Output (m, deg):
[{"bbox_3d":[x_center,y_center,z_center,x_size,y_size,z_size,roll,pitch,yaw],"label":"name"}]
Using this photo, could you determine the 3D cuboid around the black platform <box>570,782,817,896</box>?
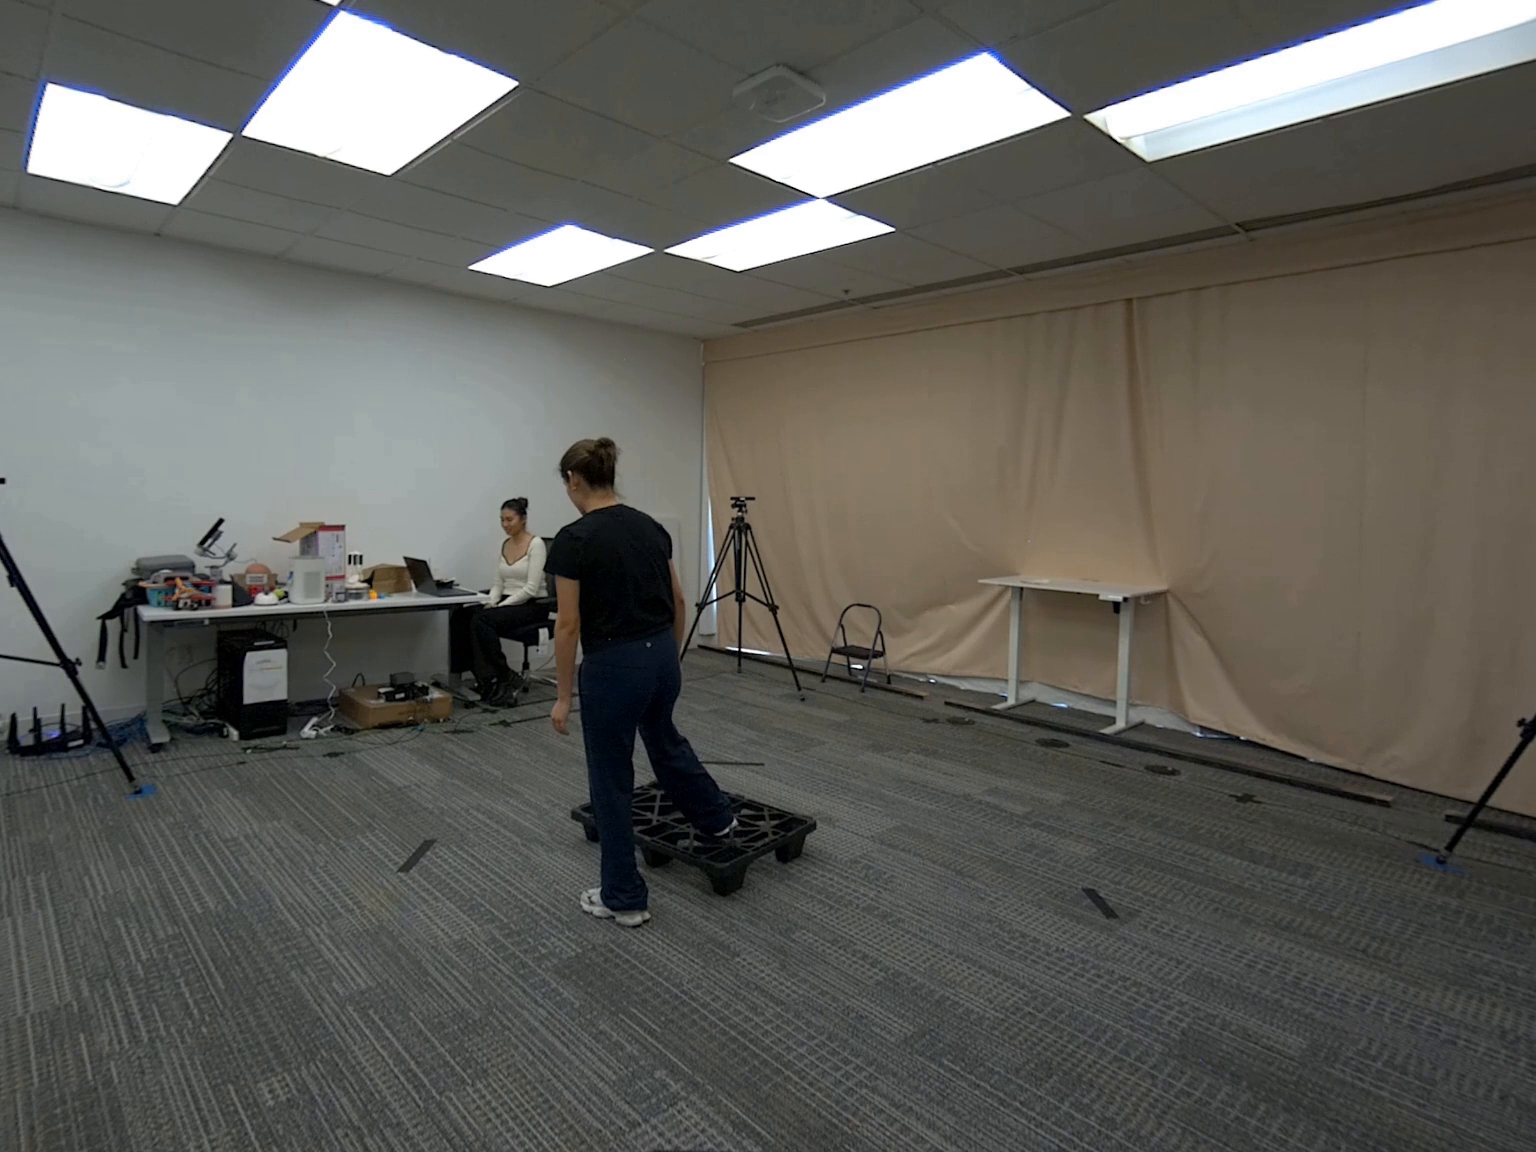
[{"bbox_3d":[-0.303,1.017,3.325,0.825,0.143,0.592,5,7,38],"label":"black platform"}]
